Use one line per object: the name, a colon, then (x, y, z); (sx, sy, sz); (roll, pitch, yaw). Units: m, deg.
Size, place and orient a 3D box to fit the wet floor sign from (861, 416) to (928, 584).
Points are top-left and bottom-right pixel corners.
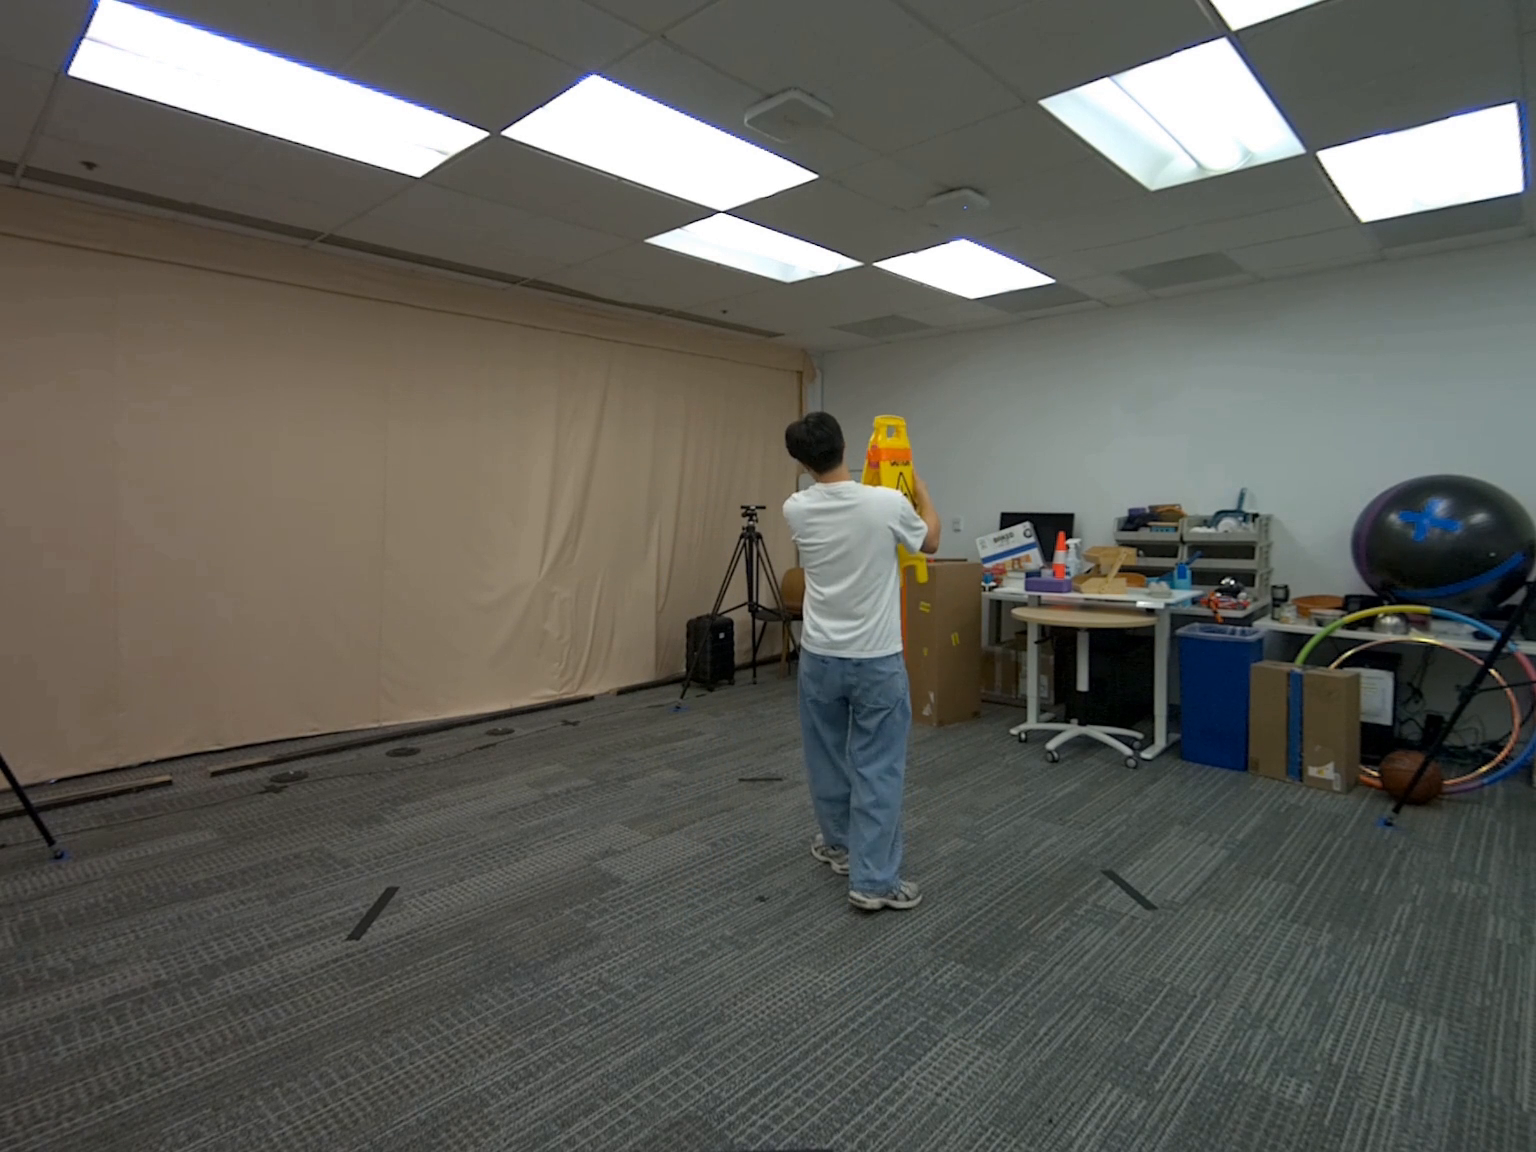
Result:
wet floor sign: (0.482, -0.297, 3.311); (0.299, 0.644, 0.274); (3, 7, 39)
